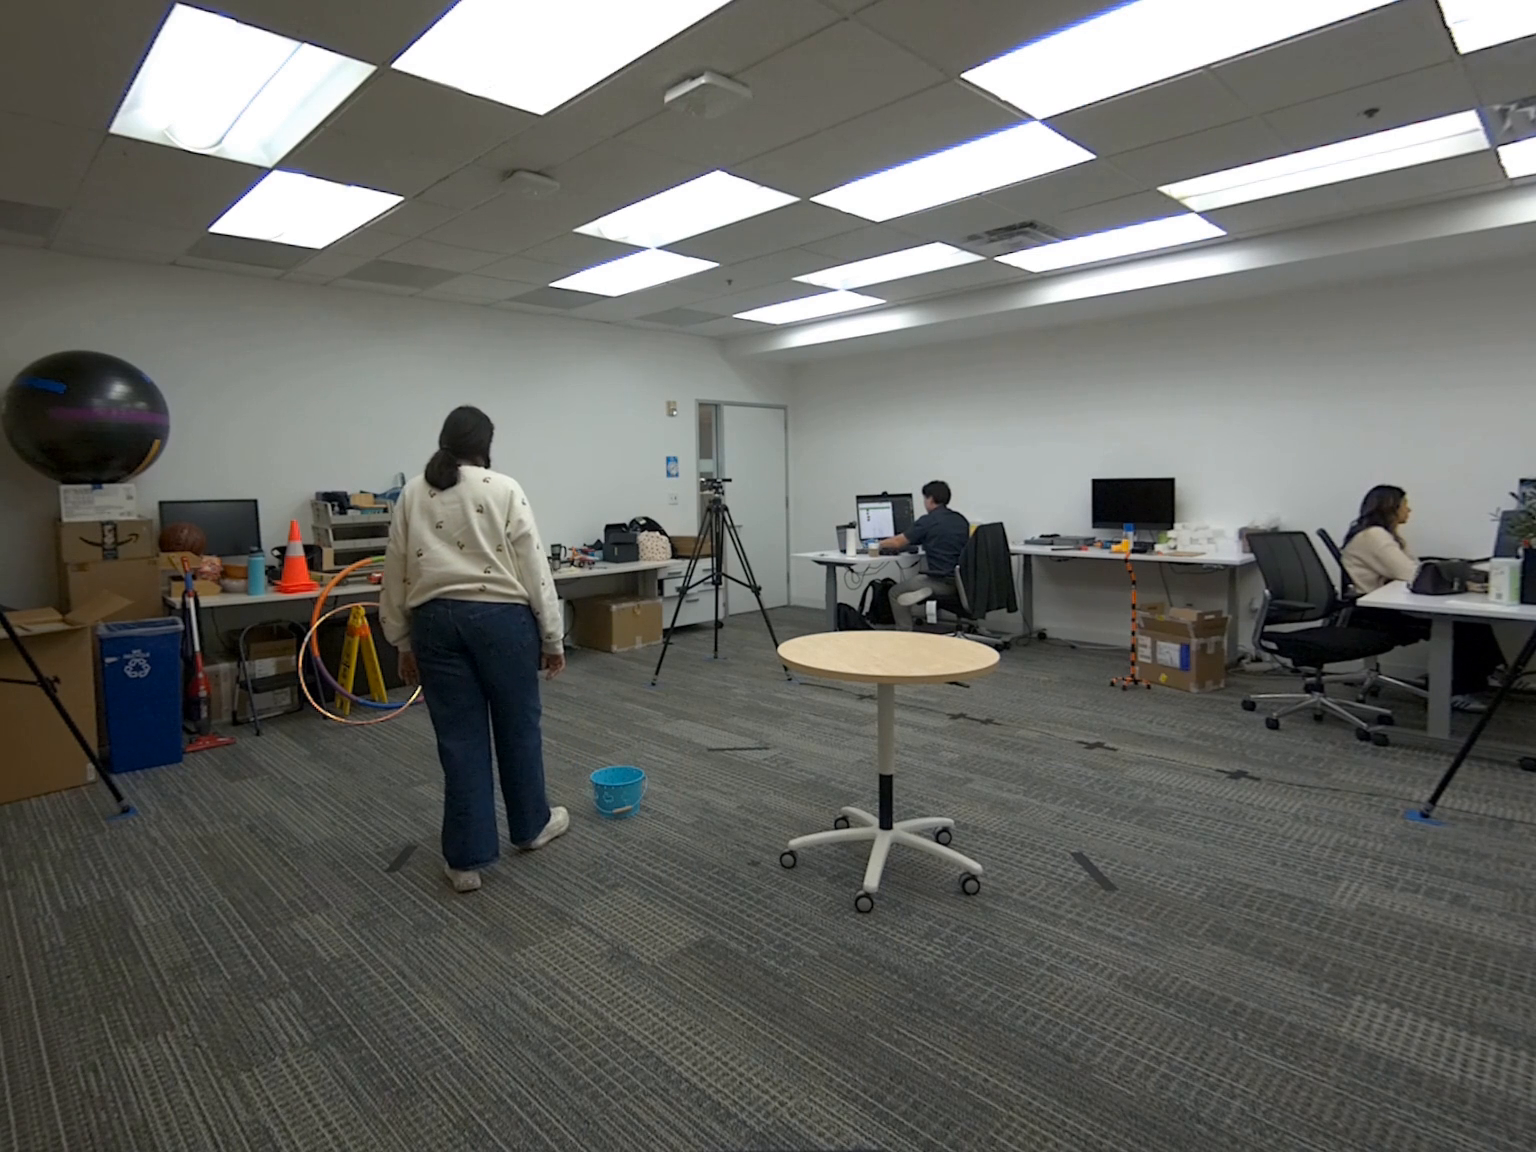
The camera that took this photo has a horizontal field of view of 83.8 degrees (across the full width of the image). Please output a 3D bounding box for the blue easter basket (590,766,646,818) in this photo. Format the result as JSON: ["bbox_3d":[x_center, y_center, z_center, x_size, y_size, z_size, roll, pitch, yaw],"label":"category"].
[{"bbox_3d":[-0.641,0.916,3.624,0.243,0.155,0.245,-1,5,-2],"label":"blue easter basket"}]
